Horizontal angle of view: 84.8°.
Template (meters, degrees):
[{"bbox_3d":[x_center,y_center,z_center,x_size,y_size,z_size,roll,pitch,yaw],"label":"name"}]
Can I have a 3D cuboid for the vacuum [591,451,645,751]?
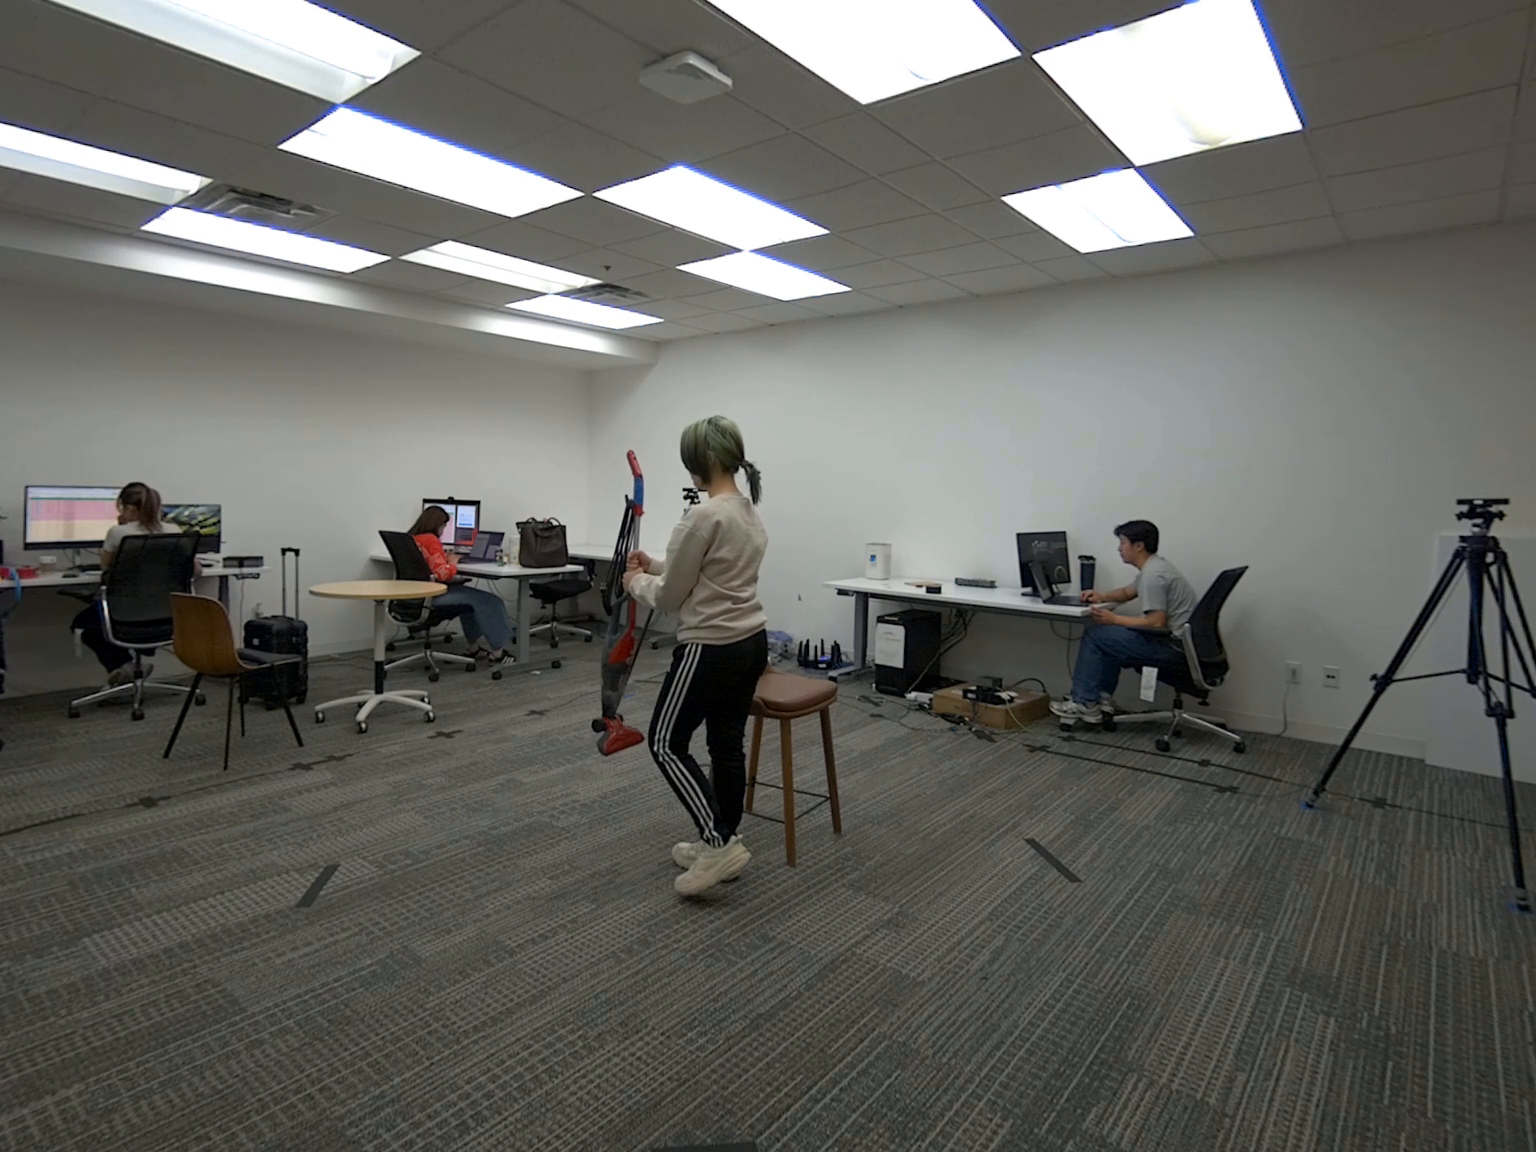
[{"bbox_3d":[-0.559,0.064,3.159,0.147,1.048,0.247,3,2,23],"label":"vacuum"}]
